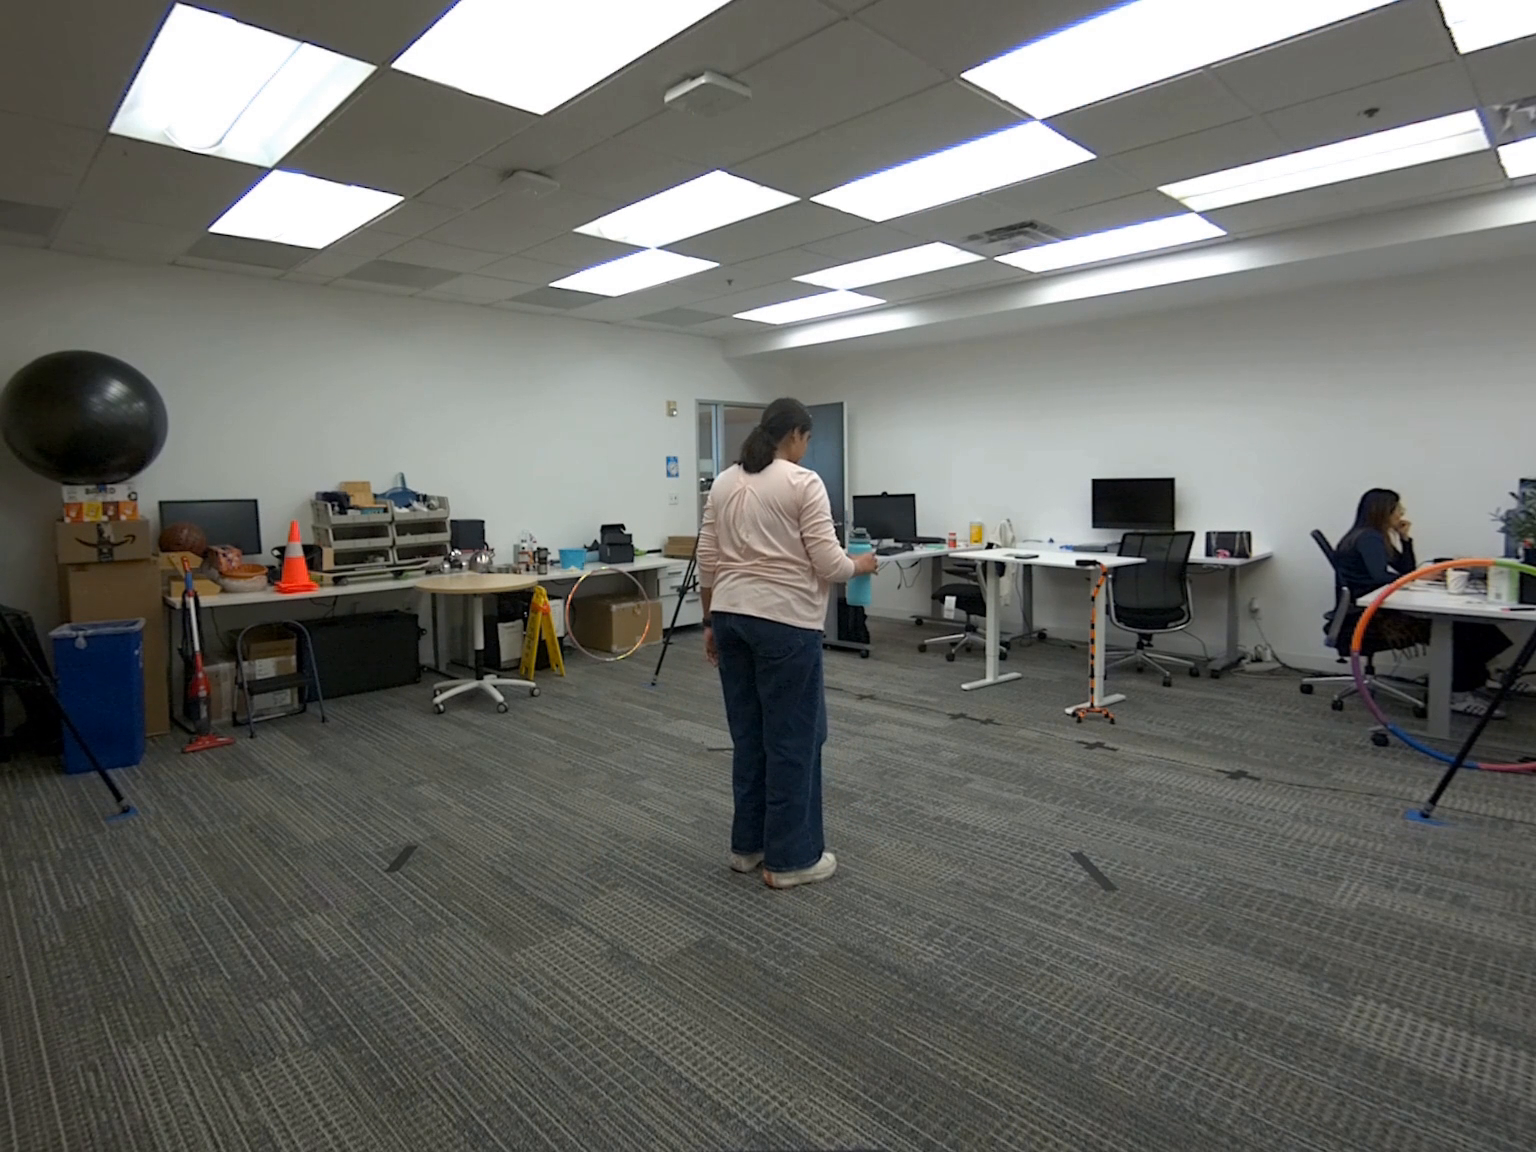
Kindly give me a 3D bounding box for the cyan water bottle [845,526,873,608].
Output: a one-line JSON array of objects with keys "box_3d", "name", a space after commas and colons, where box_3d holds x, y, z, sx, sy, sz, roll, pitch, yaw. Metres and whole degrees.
[{"box_3d": [0.340, -0.032, 3.196, 0.092, 0.283, 0.092, -1, 0, -2], "name": "cyan water bottle"}]
